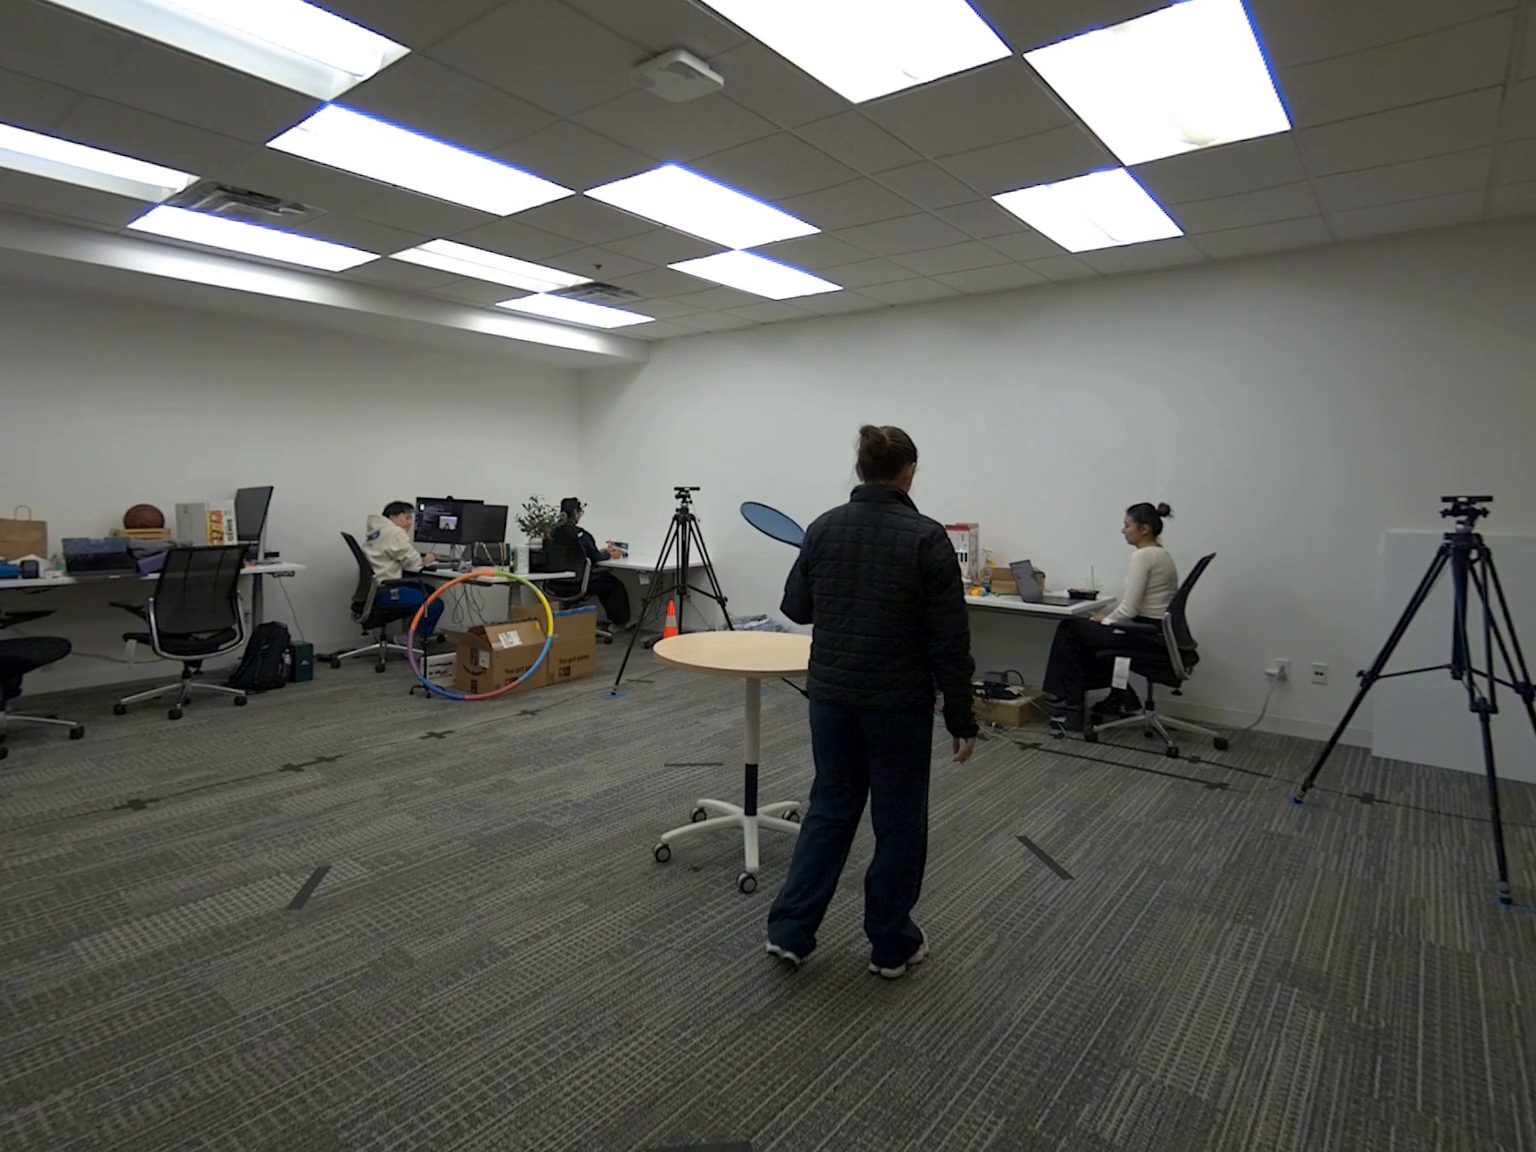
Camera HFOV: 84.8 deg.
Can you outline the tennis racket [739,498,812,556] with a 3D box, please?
[{"bbox_3d":[0.120,-0.135,2.898,0.449,0.031,0.208,39,29,29],"label":"tennis racket"}]
